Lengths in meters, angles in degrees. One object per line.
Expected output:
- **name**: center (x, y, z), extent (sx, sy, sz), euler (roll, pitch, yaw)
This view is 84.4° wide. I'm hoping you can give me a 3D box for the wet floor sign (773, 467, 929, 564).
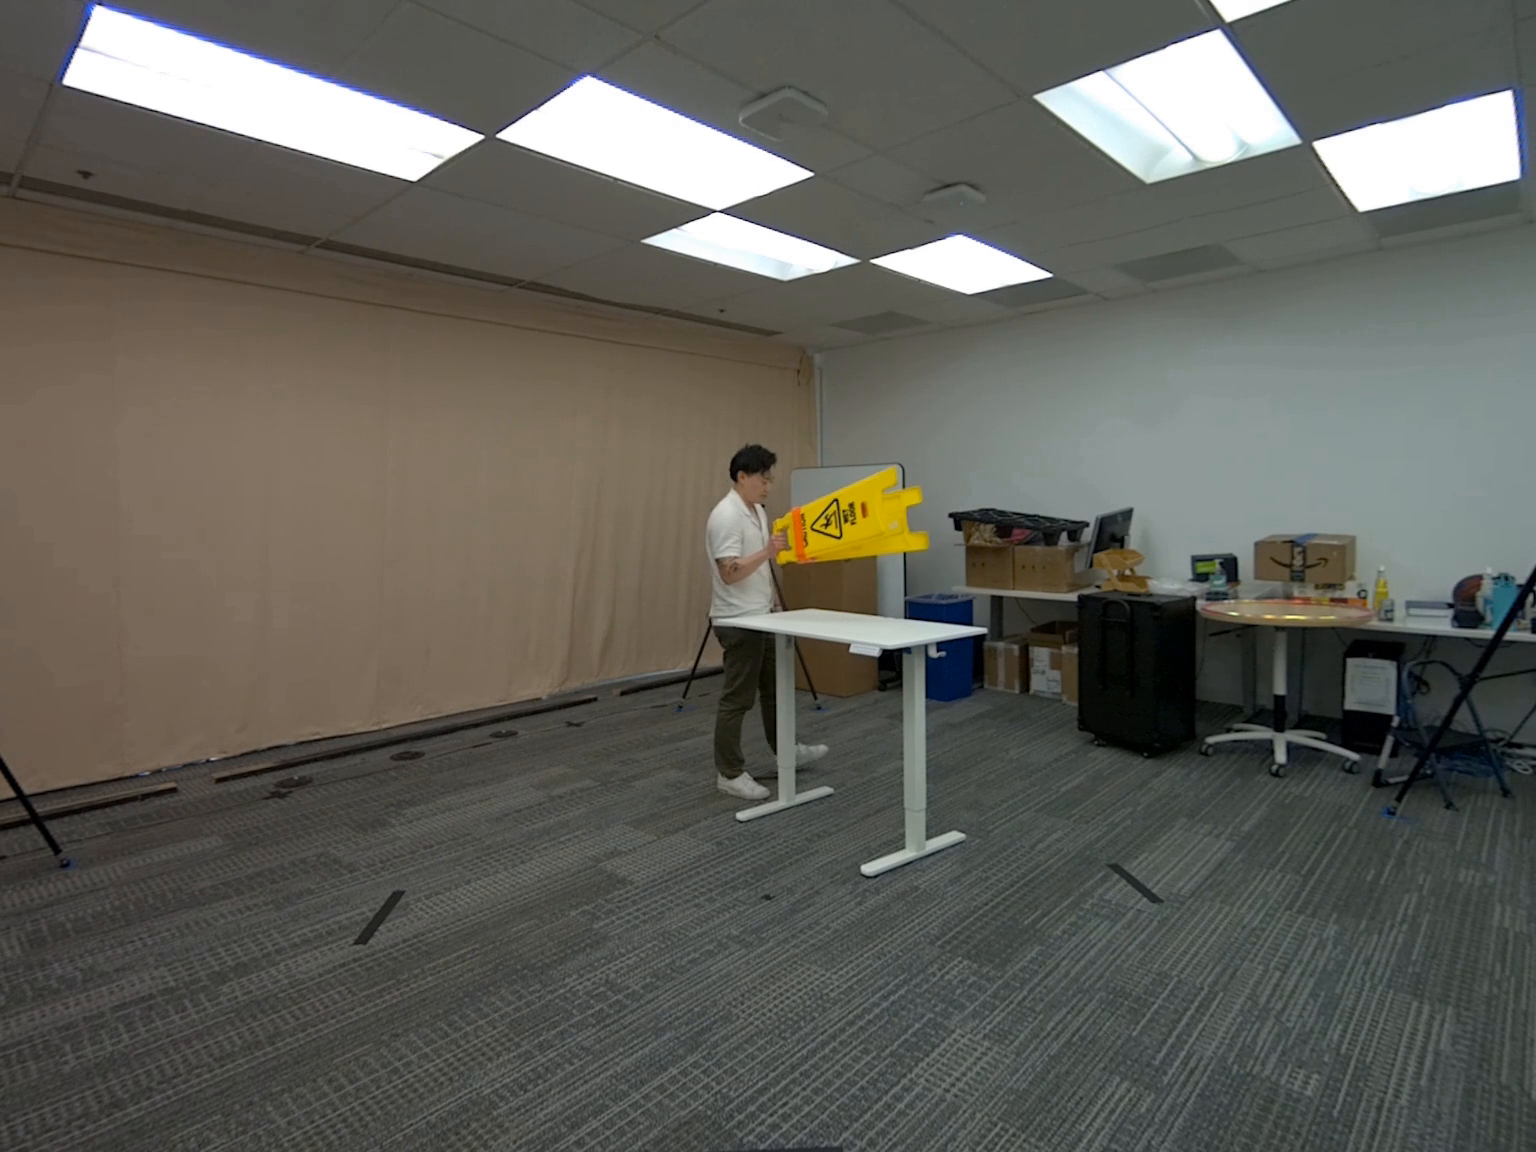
- **wet floor sign**: center (0.310, -0.212, 3.580), extent (0.661, 0.285, 0.280), euler (-13, -19, 29)
